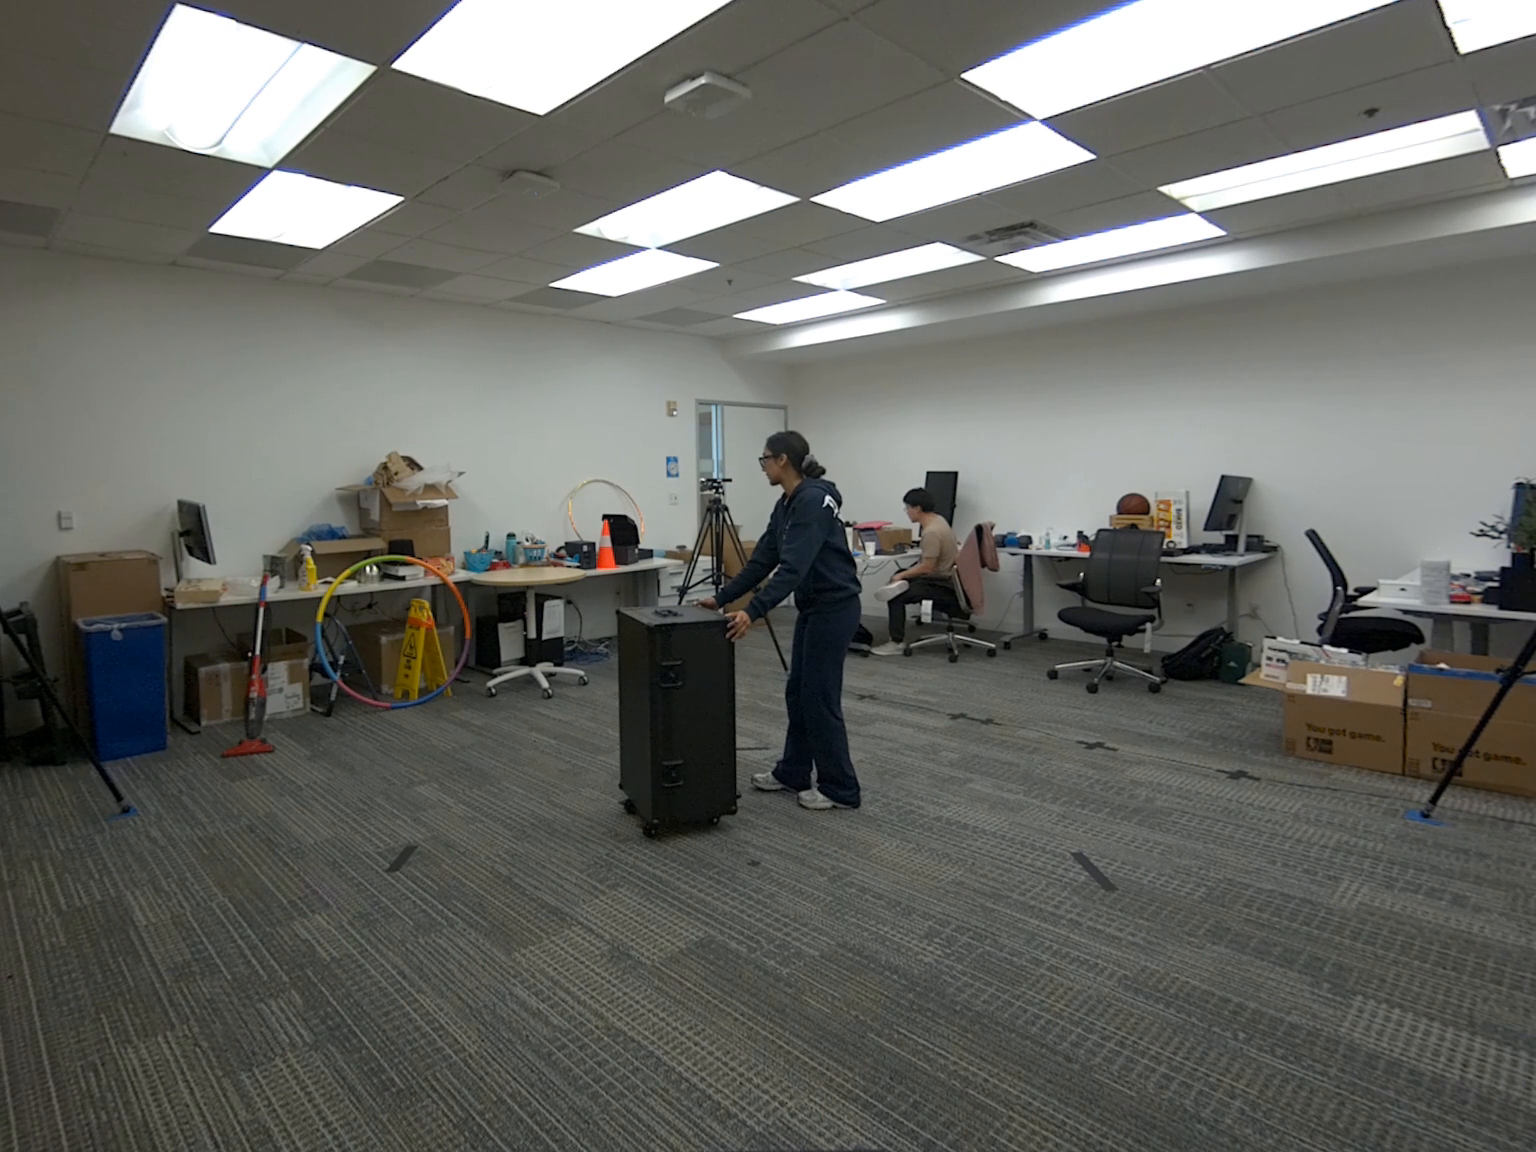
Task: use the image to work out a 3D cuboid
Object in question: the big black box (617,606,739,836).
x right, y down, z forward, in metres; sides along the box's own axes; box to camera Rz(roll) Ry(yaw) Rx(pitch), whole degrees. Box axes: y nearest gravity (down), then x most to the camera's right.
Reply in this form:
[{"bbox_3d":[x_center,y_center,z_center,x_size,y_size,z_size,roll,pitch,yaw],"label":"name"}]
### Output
[{"bbox_3d":[-0.380,0.577,3.534,0.388,0.860,0.533,-1,2,-24],"label":"big black box"}]
